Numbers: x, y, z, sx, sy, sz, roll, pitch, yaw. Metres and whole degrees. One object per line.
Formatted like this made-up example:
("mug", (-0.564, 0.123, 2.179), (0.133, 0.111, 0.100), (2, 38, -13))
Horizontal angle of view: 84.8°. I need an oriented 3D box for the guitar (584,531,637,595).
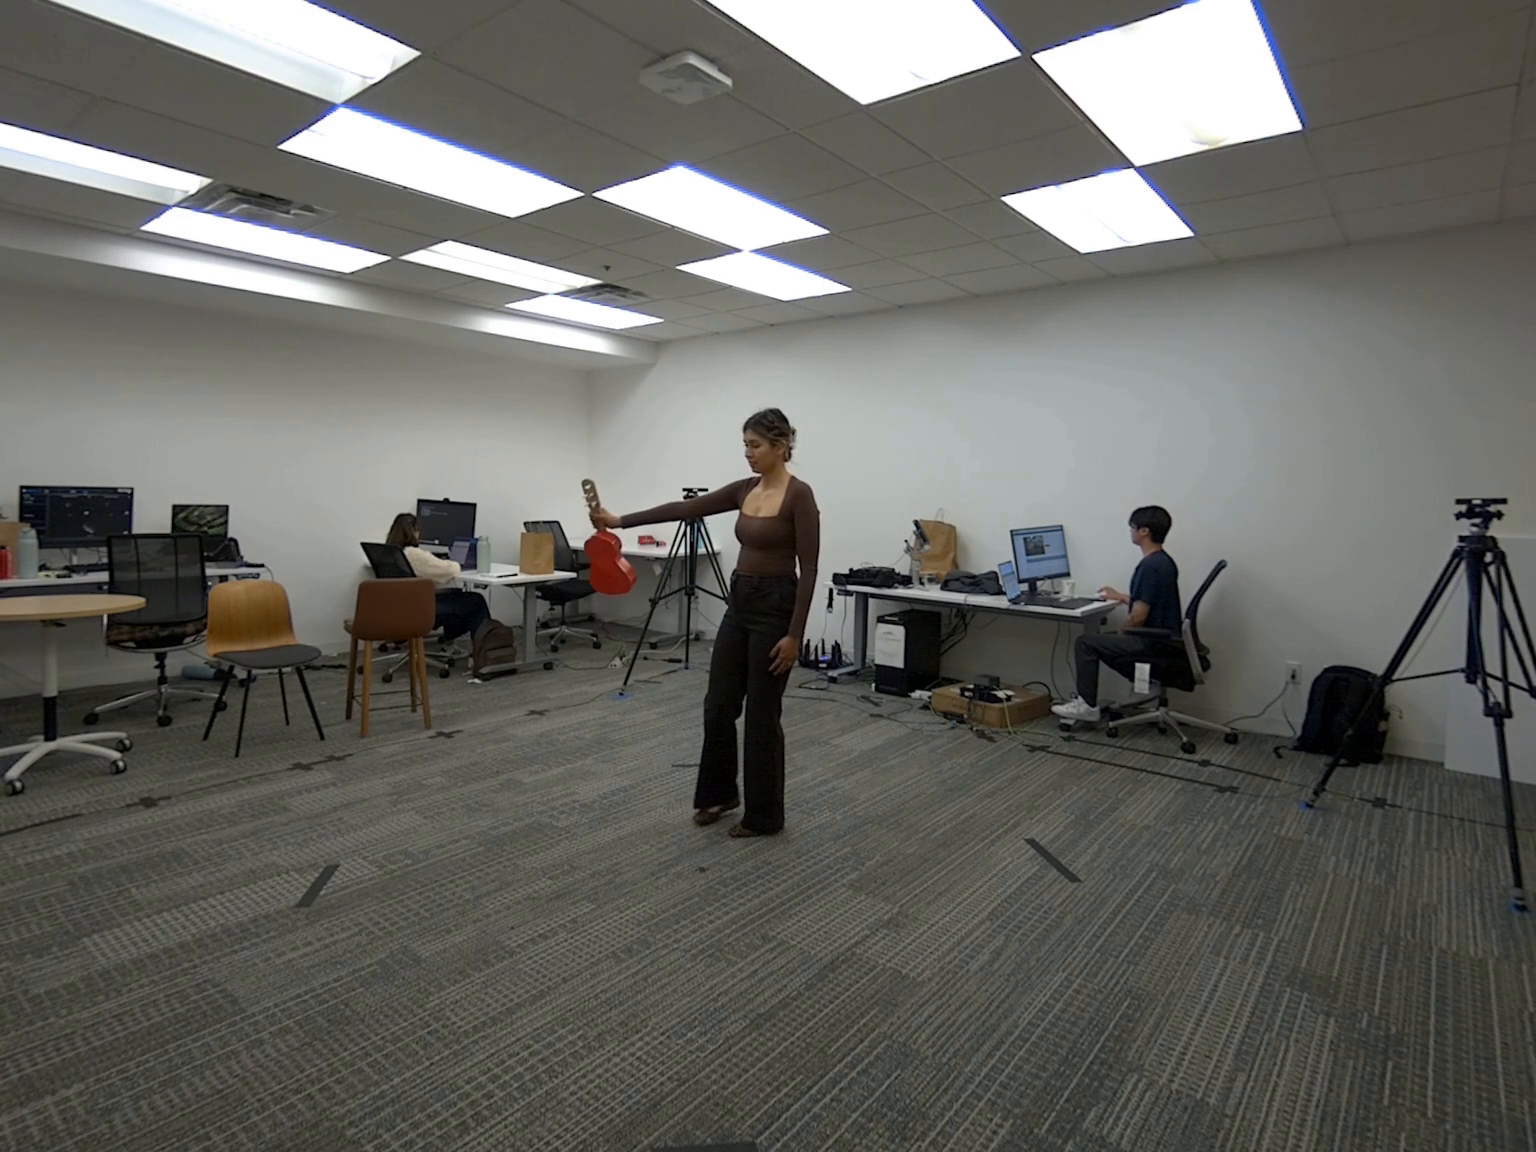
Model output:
("guitar", (-0.714, -0.148, 3.447), (0.197, 0.486, 0.071), (-11, 21, 27))
